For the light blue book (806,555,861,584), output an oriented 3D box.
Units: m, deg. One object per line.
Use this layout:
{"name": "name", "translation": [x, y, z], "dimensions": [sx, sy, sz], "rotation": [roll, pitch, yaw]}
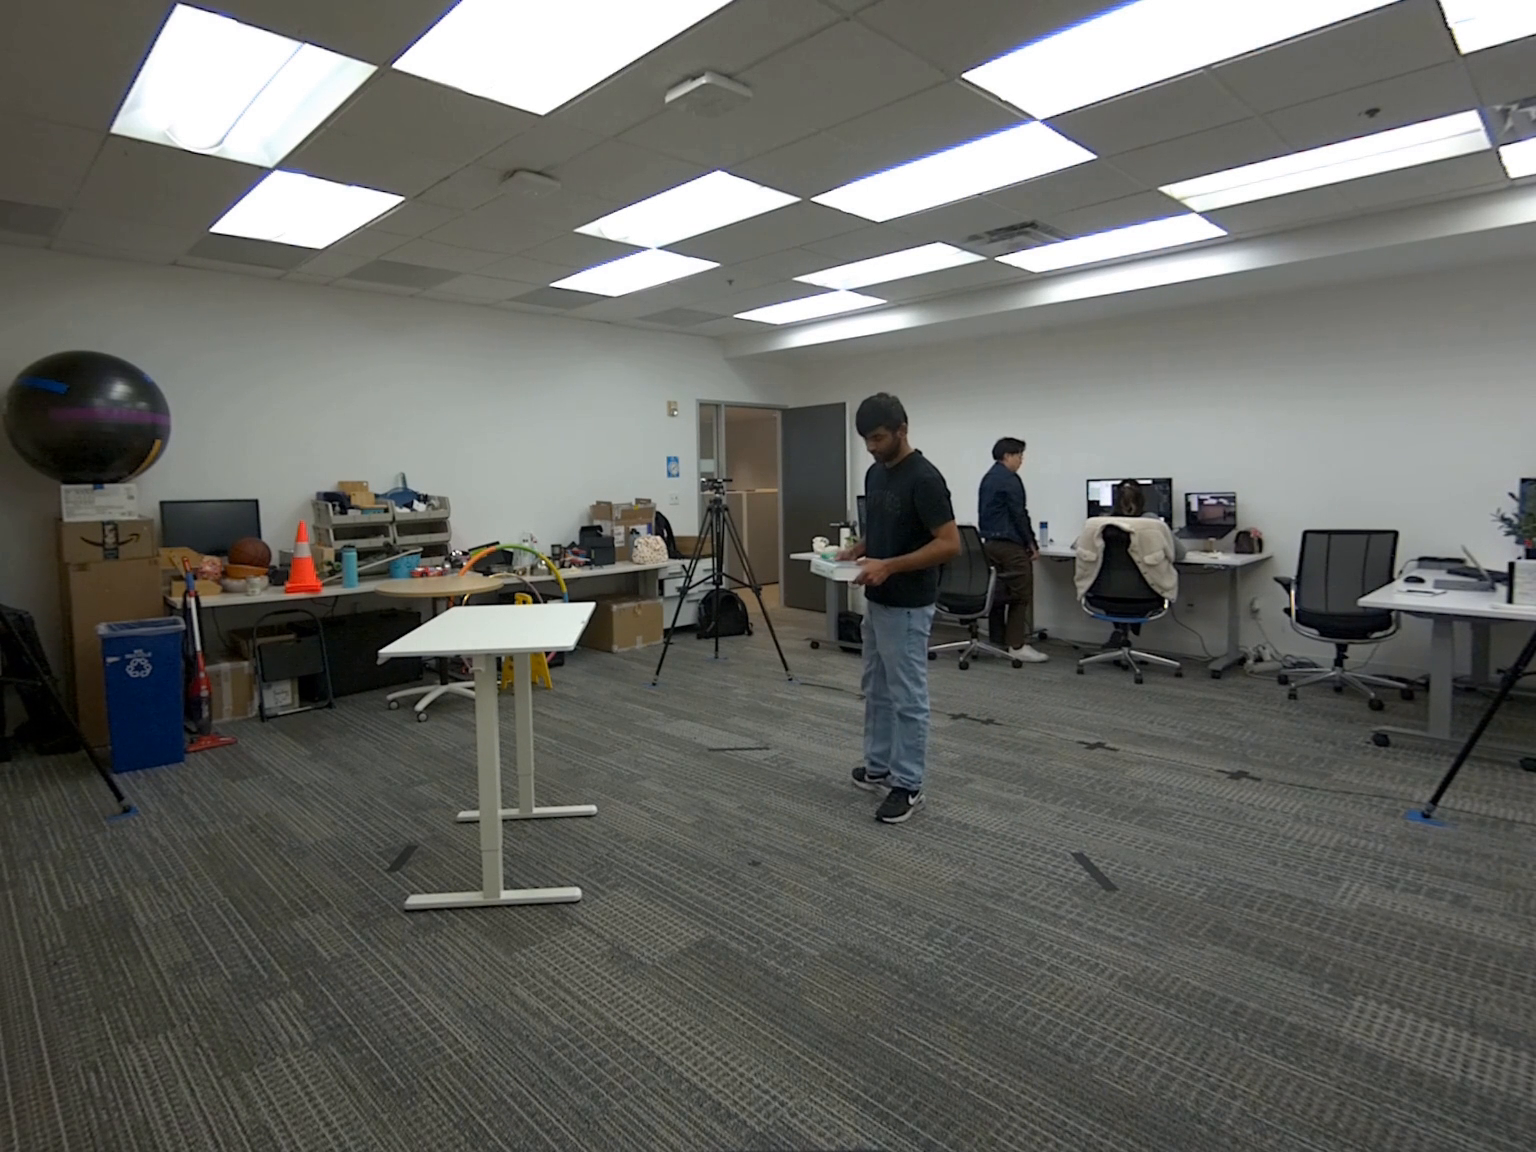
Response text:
{"name": "light blue book", "translation": [0.320, -0.026, 3.456], "dimensions": [0.189, 0.059, 0.265], "rotation": [1, 5, -13]}
